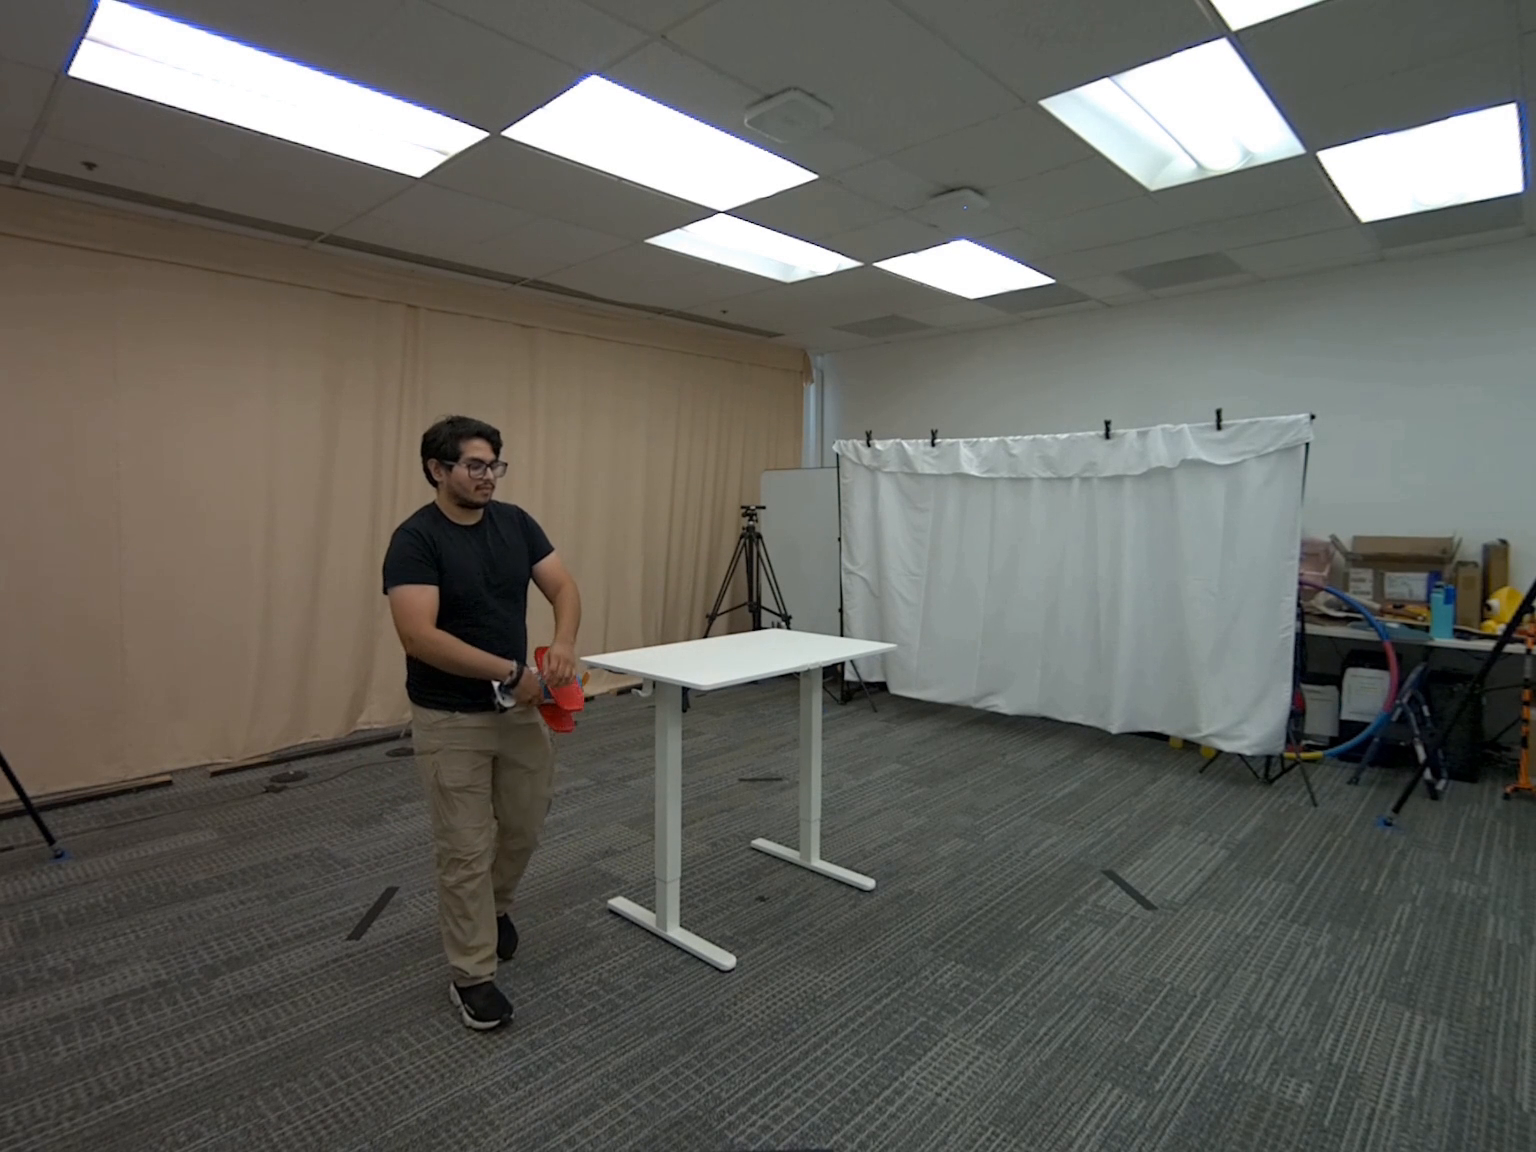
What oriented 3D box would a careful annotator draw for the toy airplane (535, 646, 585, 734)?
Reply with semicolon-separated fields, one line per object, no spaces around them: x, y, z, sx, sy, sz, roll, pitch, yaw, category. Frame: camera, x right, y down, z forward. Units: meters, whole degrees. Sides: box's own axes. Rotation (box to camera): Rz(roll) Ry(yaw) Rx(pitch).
-0.624;0.322;2.316;0.256;0.157;0.253;43;15;16;toy airplane
